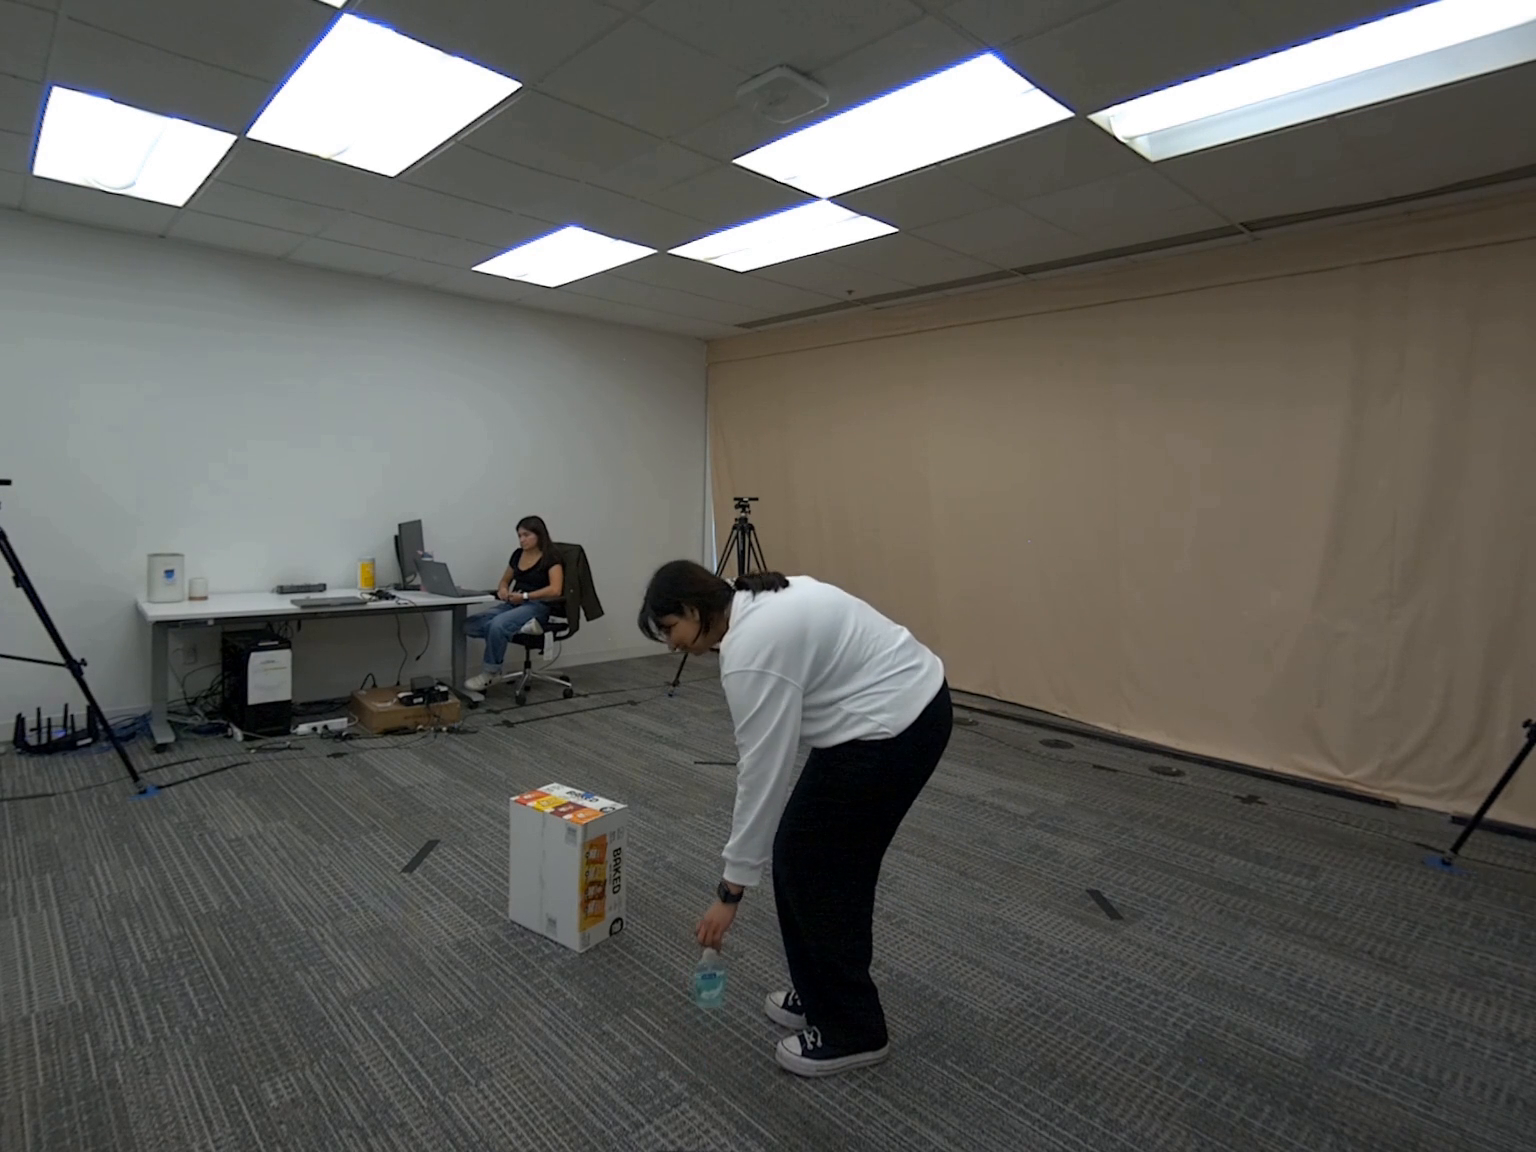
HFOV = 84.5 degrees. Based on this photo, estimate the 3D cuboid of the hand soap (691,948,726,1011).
[{"bbox_3d":[-0.147,0.973,2.056,0.084,0.168,0.043,-4,1,-7],"label":"hand soap"}]
